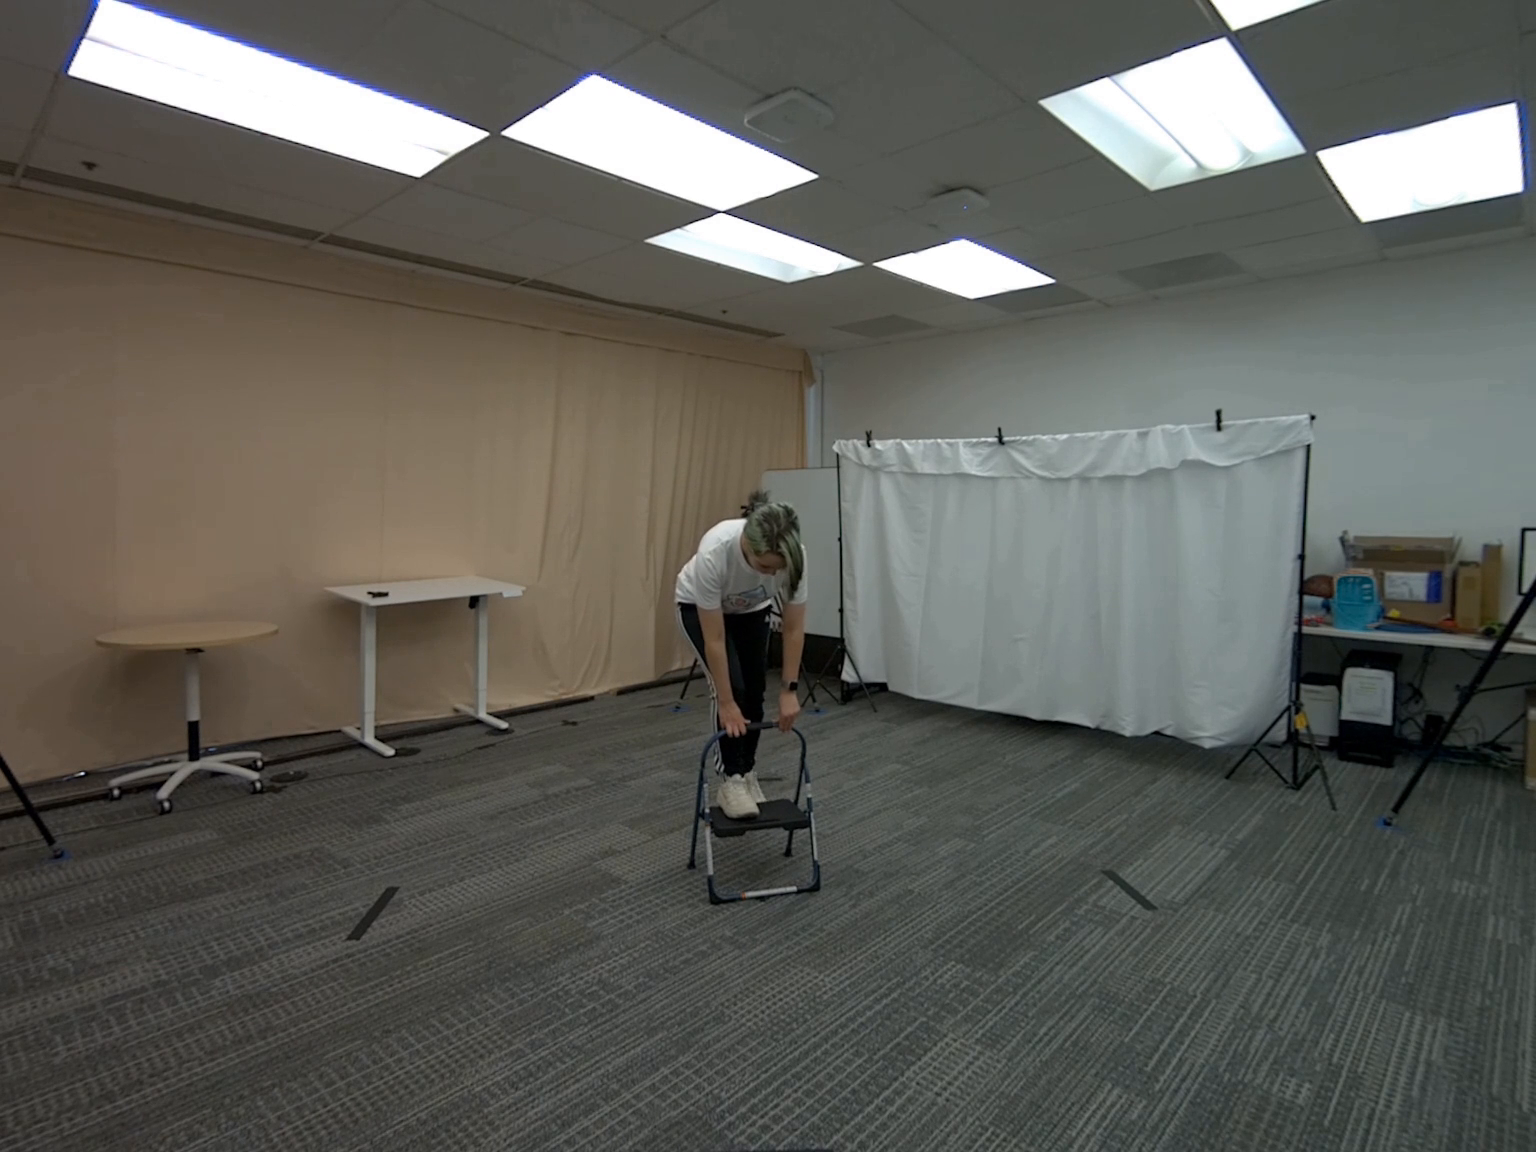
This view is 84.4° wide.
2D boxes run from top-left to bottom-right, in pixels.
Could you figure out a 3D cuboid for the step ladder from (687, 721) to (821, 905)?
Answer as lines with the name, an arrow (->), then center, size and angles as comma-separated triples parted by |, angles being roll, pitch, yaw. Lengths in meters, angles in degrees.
step ladder -> -0.055, 0.832, 3.135 | 0.423, 0.605, 0.356 | -1, 3, -18
